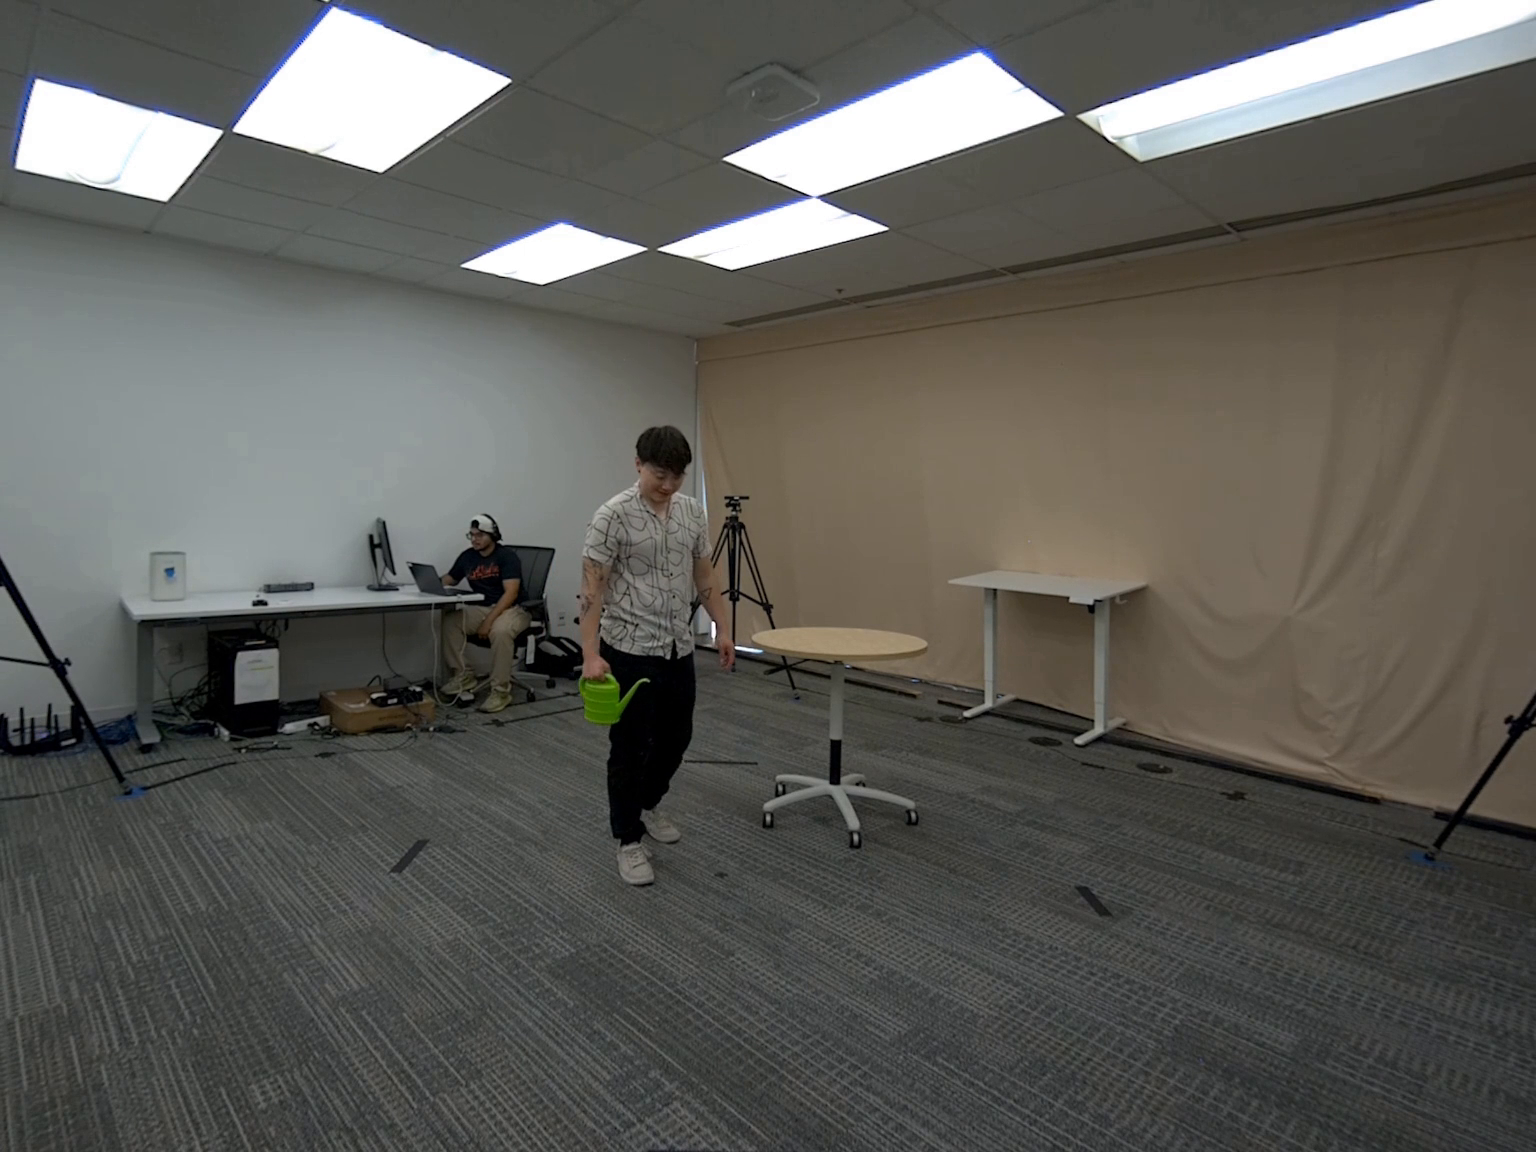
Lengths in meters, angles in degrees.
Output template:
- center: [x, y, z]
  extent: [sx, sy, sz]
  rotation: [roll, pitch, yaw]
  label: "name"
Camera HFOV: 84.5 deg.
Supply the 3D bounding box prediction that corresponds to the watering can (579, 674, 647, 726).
- center: [-0.564, 0.430, 2.929]
  extent: [0.285, 0.175, 0.096]
  rotation: [8, 12, 36]
  label: "watering can"
